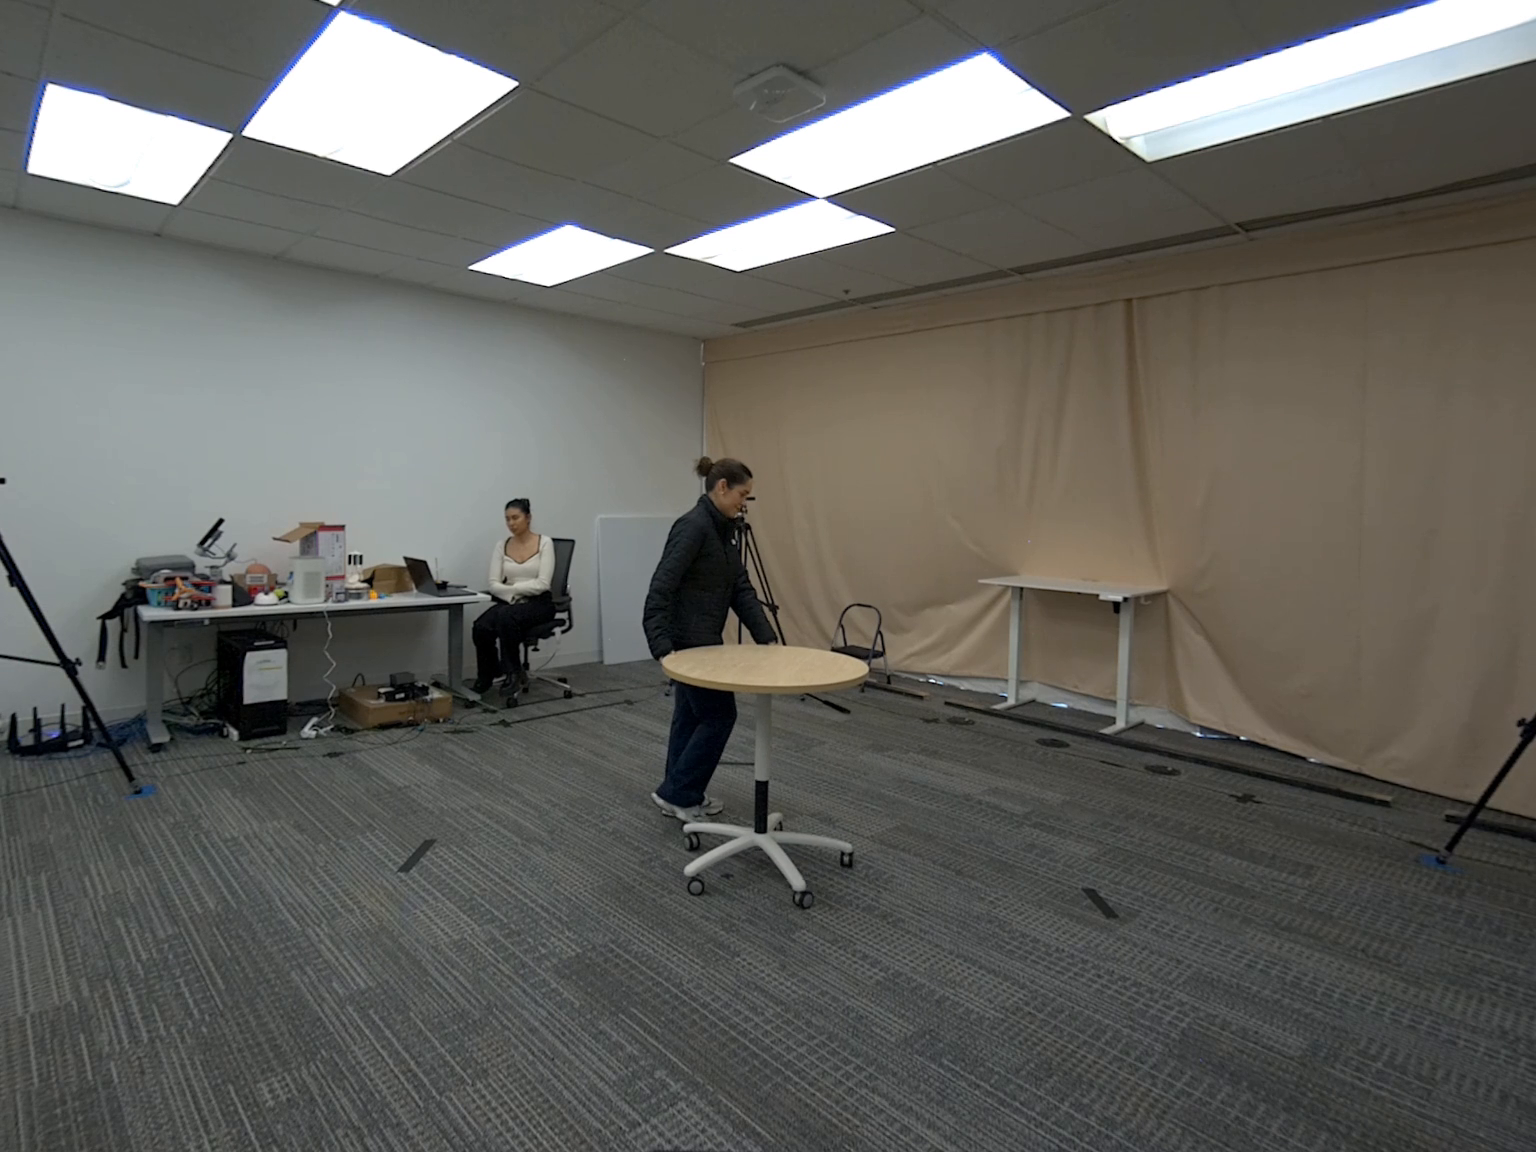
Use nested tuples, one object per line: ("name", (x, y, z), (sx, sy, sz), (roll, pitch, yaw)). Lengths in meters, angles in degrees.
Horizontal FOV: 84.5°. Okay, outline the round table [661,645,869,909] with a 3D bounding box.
("round table", (-0.019, 0.713, 3.124), (0.784, 0.785, 0.787), (1, 4, -1))
